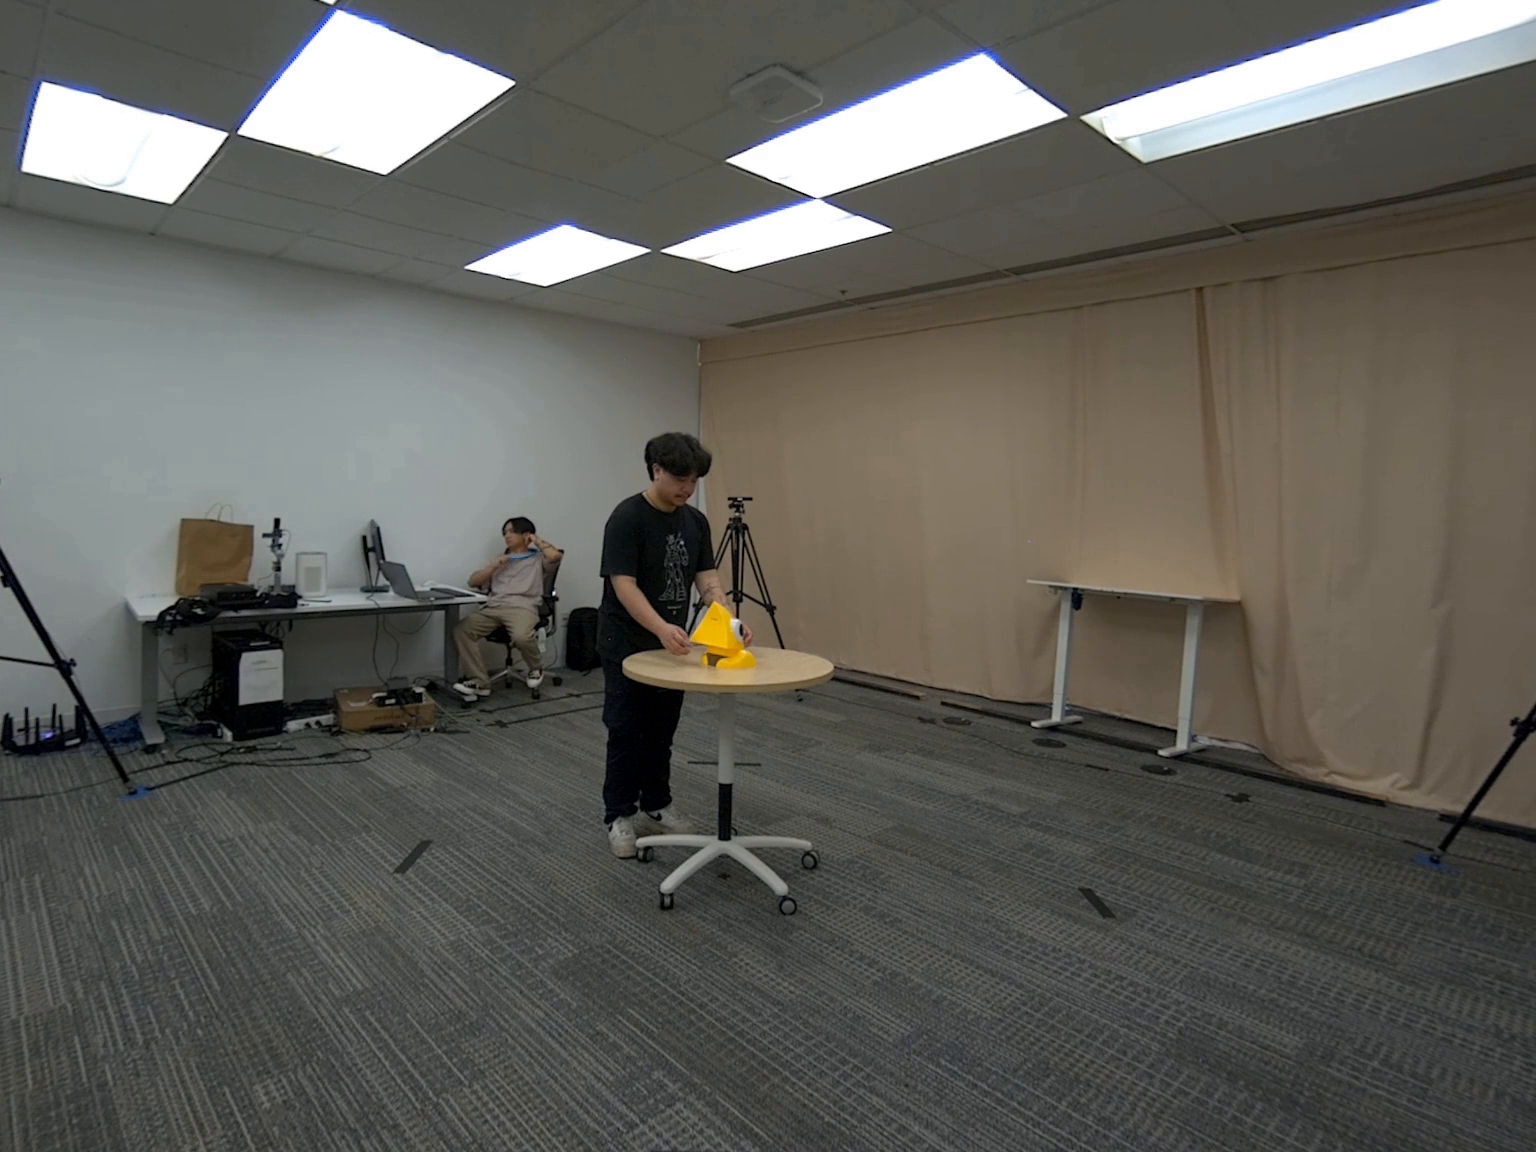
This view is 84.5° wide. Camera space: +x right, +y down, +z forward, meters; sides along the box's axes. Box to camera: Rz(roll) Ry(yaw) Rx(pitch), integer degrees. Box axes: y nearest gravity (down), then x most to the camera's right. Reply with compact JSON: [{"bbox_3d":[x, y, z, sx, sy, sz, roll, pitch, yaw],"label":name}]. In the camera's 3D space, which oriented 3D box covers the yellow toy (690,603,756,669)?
[{"bbox_3d":[-0.157,0.206,3.041,0.188,0.230,0.210,-2,3,-44],"label":"yellow toy"}]
